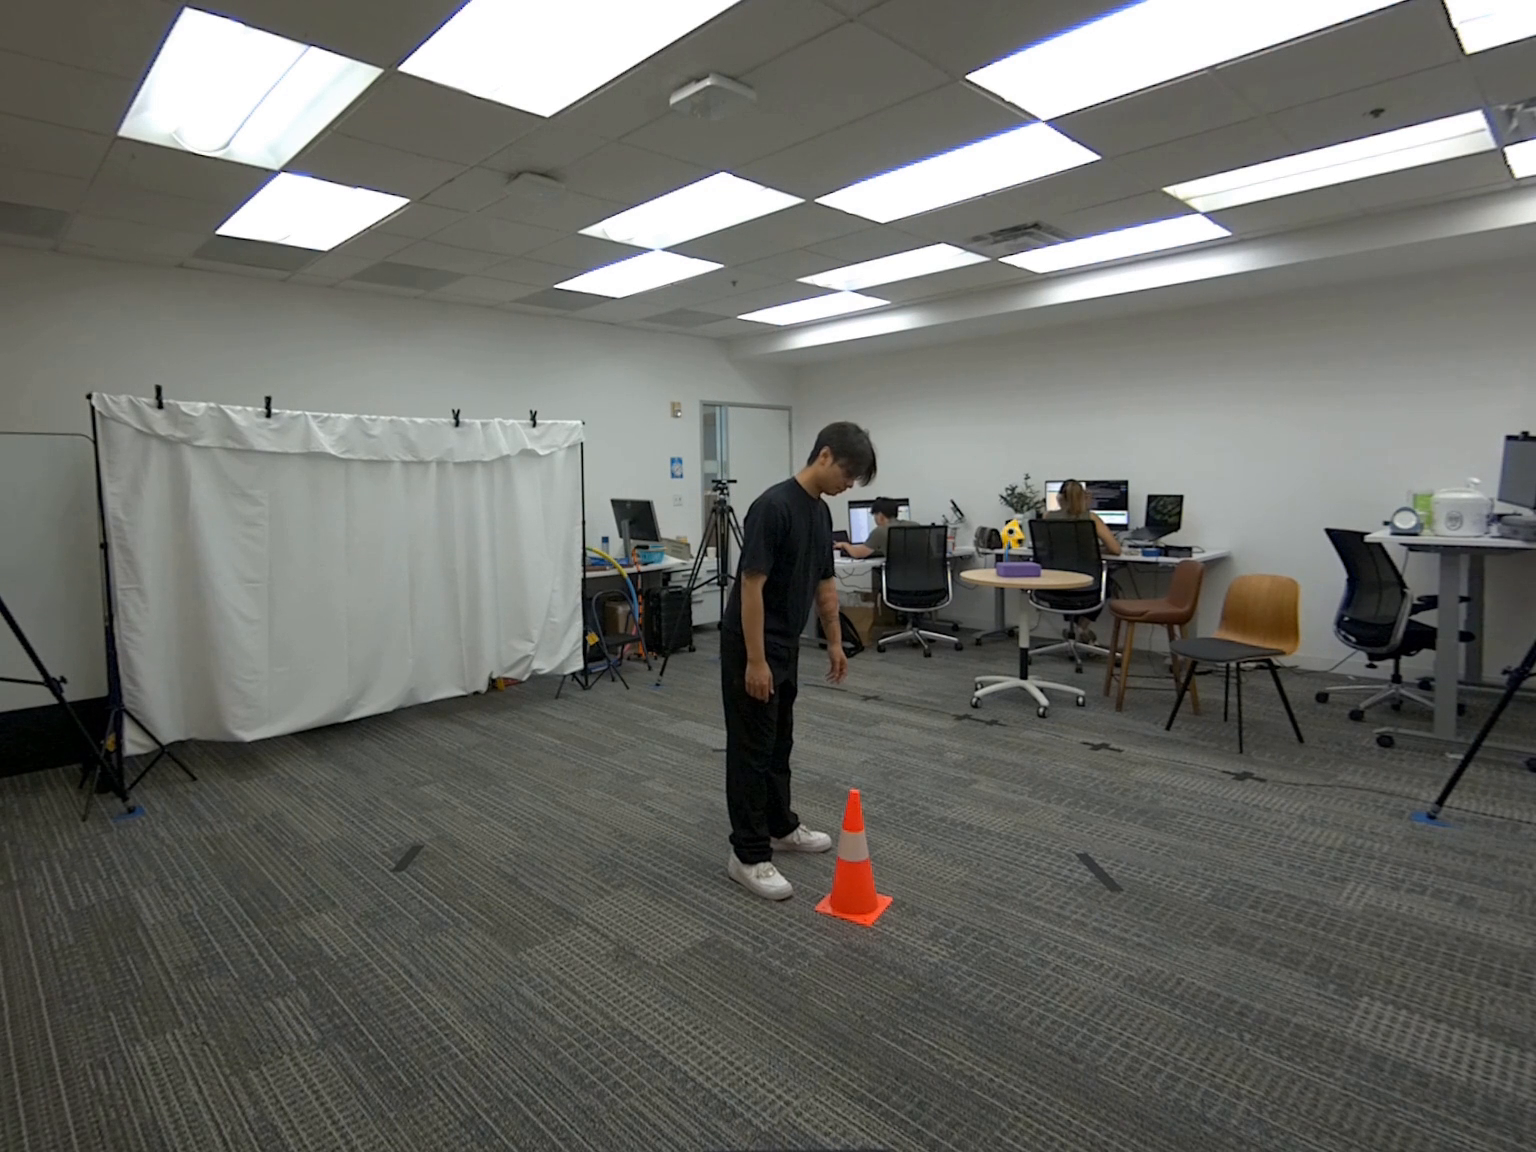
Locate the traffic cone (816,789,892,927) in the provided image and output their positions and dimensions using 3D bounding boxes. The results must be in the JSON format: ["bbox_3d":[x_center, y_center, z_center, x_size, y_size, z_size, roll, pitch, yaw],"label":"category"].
[{"bbox_3d":[0.287,0.893,2.782,0.211,0.382,0.198,3,6,38],"label":"traffic cone"}]
